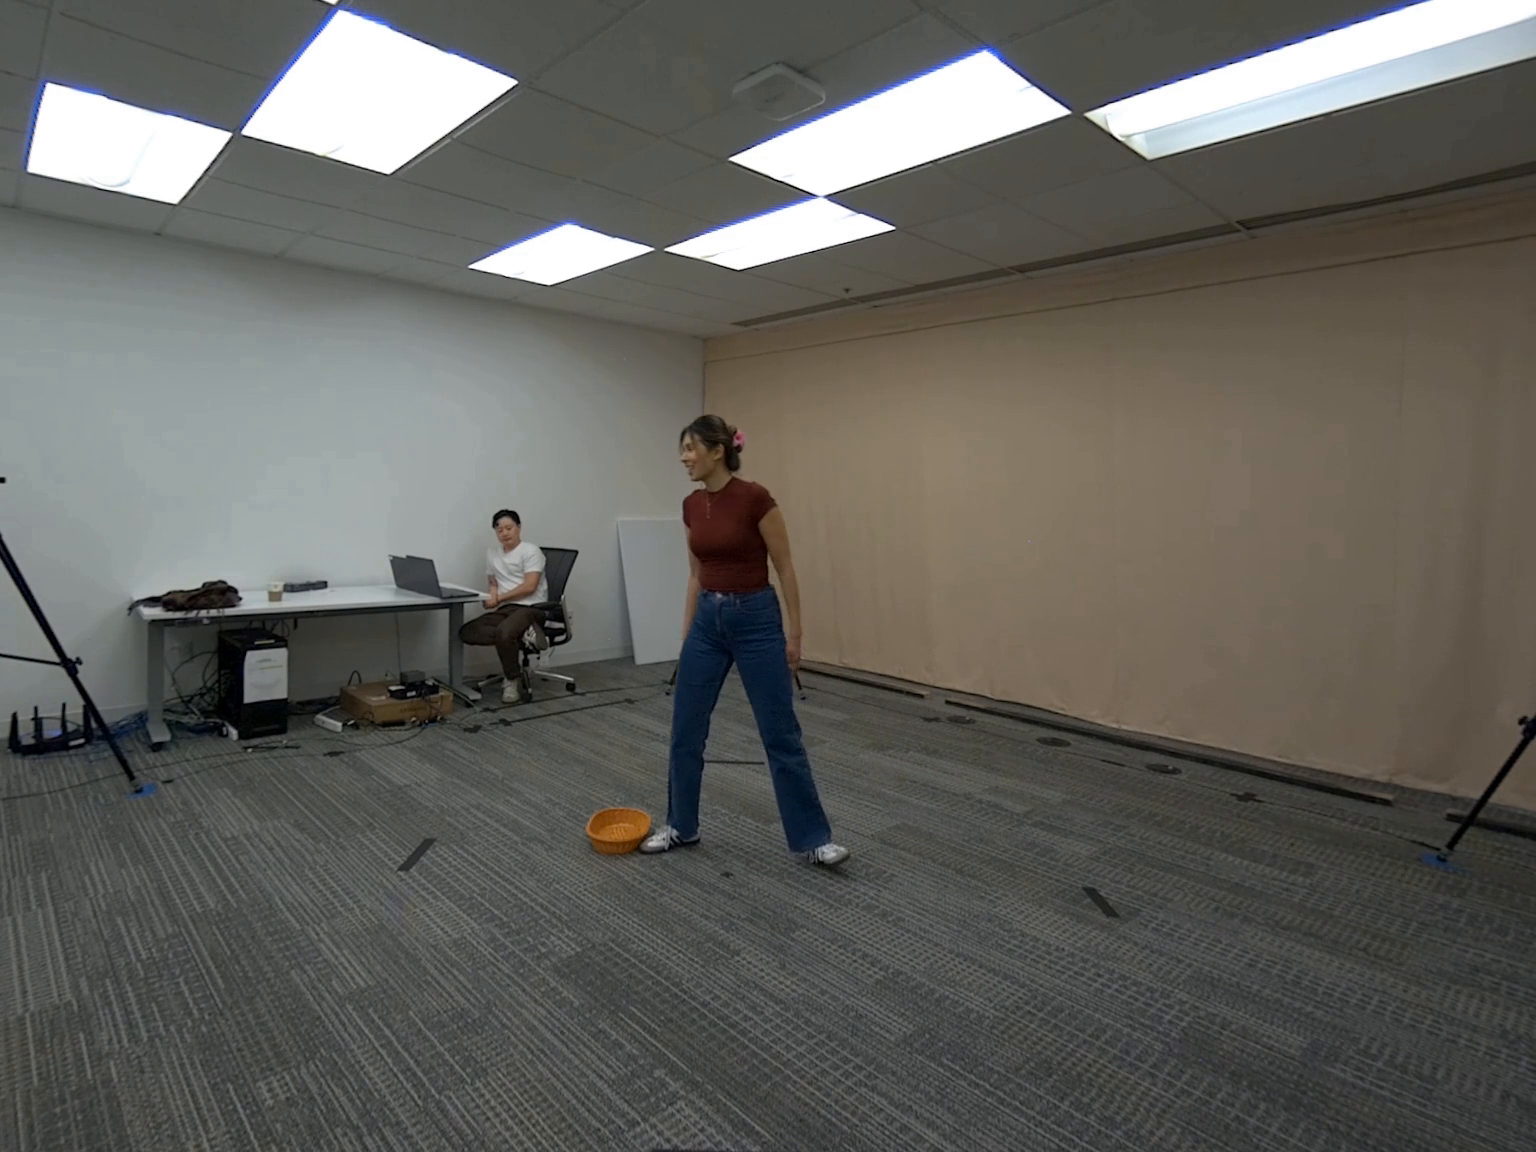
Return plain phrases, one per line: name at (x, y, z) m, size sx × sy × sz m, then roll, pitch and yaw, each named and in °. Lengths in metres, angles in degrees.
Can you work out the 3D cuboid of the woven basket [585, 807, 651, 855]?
woven basket at (-0.605, 1.021, 3.386) m, size 0.253 × 0.073 × 0.351 m, roll 3°, pitch 5°, yaw 1°
